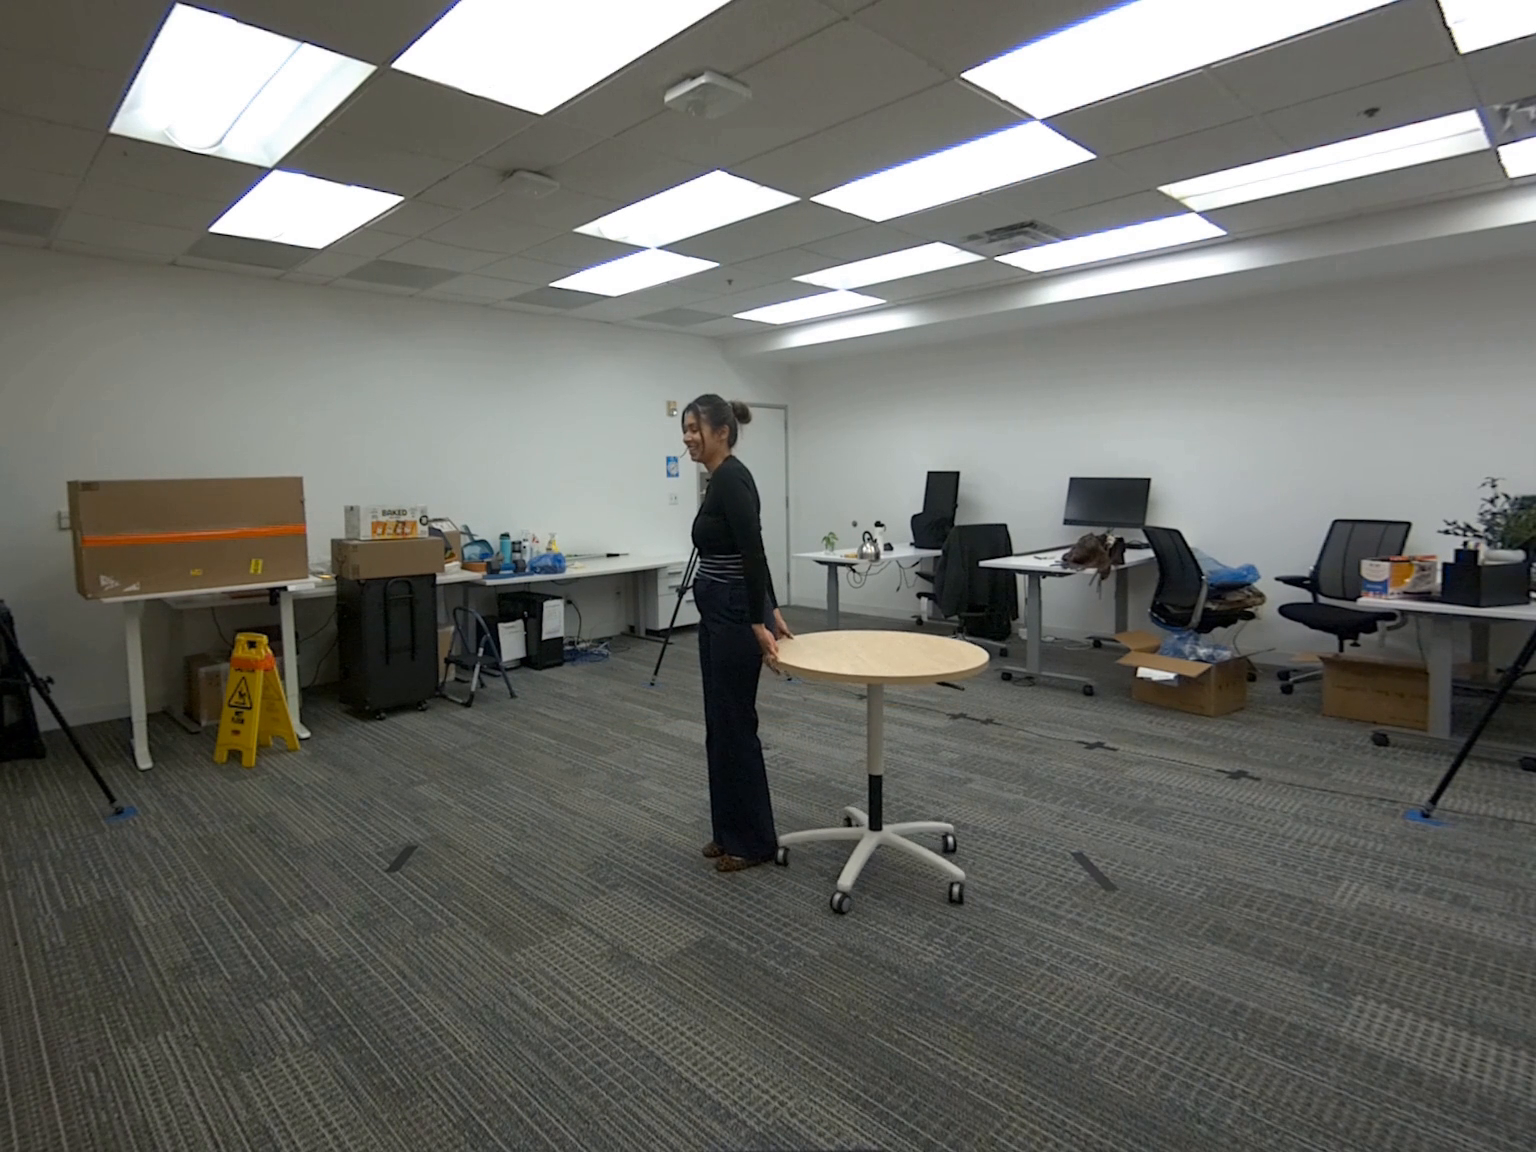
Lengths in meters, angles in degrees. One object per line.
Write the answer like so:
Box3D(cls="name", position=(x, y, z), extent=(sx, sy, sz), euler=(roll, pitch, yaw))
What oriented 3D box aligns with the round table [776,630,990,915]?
Box3D(cls="round table", position=(0.376, 0.654, 3.030), extent=(0.763, 0.791, 0.768), euler=(0, 5, -2))
